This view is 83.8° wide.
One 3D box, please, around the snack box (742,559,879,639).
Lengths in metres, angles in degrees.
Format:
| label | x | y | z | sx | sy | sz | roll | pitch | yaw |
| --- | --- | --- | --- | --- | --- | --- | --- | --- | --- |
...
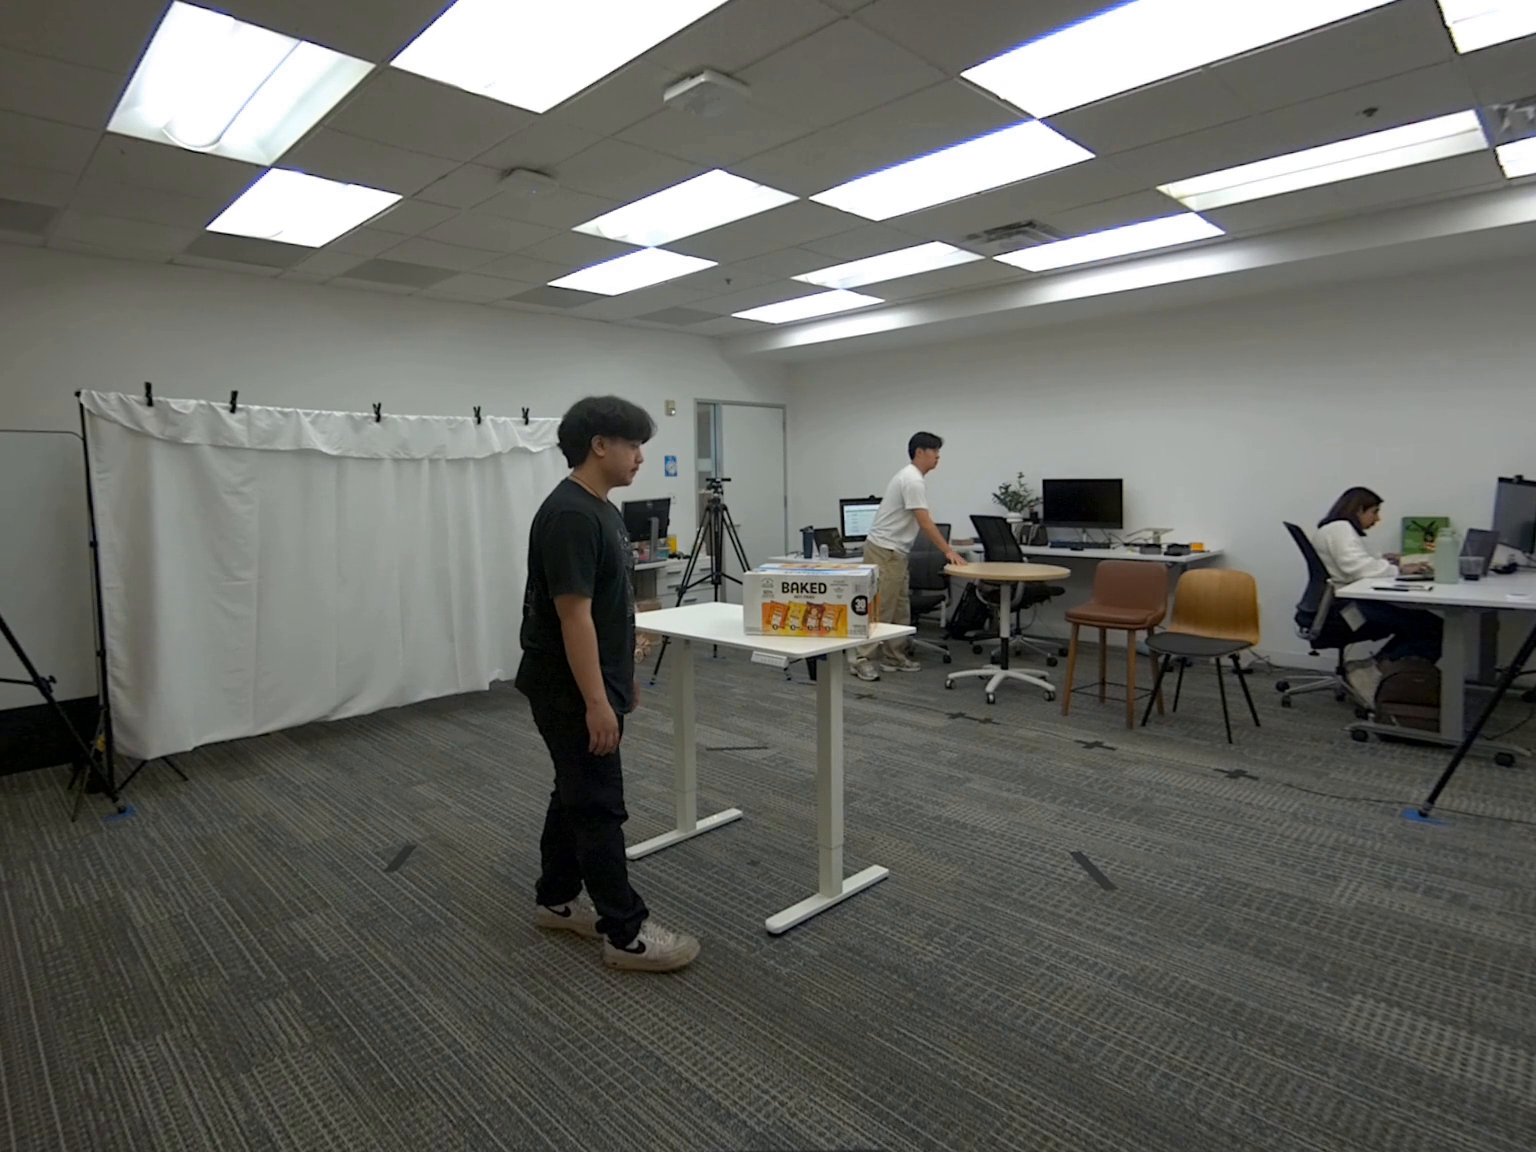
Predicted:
| label | x | y | z | sx | sy | sz | roll | pitch | yaw |
| --- | --- | --- | --- | --- | --- | --- | --- | --- | --- |
| snack box | 0.156 | 0.075 | 2.886 | 0.411 | 0.205 | 0.337 | 0 | 6 | 14 |
